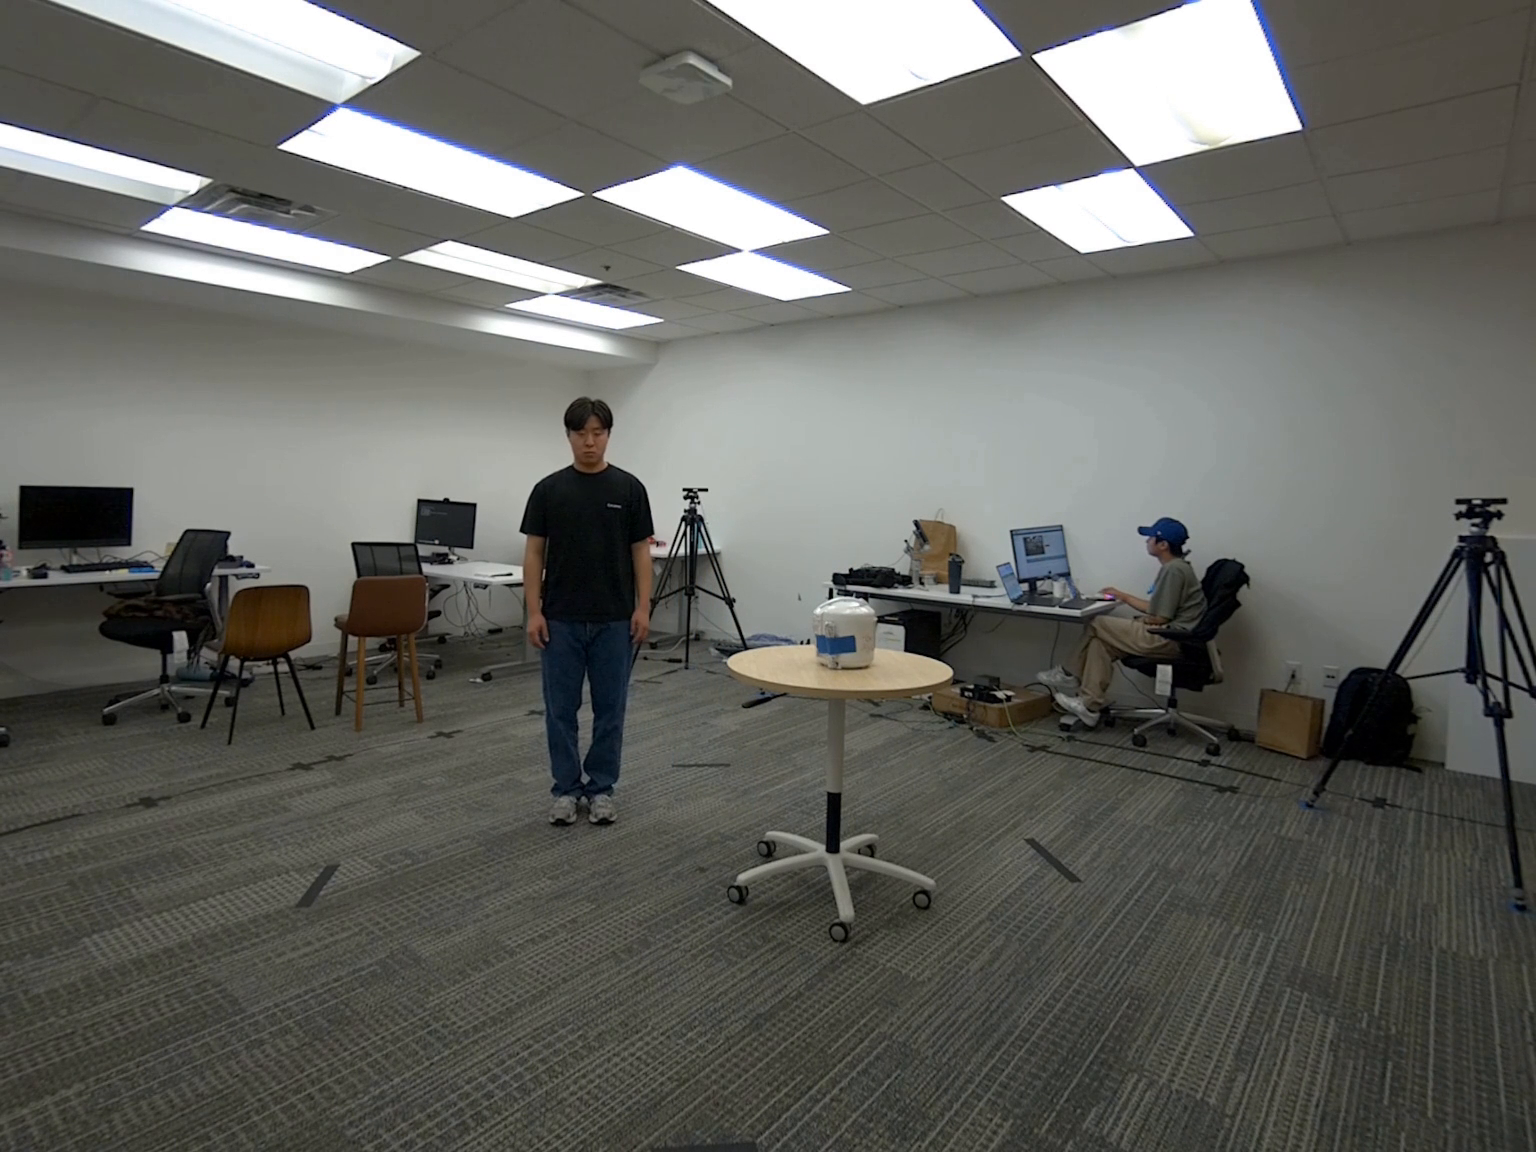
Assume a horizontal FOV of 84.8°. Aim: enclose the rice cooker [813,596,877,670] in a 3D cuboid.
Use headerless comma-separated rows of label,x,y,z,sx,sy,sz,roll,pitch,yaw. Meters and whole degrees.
rice cooker,0.257,0.186,2.935,0.217,0.232,0.222,1,4,-16
